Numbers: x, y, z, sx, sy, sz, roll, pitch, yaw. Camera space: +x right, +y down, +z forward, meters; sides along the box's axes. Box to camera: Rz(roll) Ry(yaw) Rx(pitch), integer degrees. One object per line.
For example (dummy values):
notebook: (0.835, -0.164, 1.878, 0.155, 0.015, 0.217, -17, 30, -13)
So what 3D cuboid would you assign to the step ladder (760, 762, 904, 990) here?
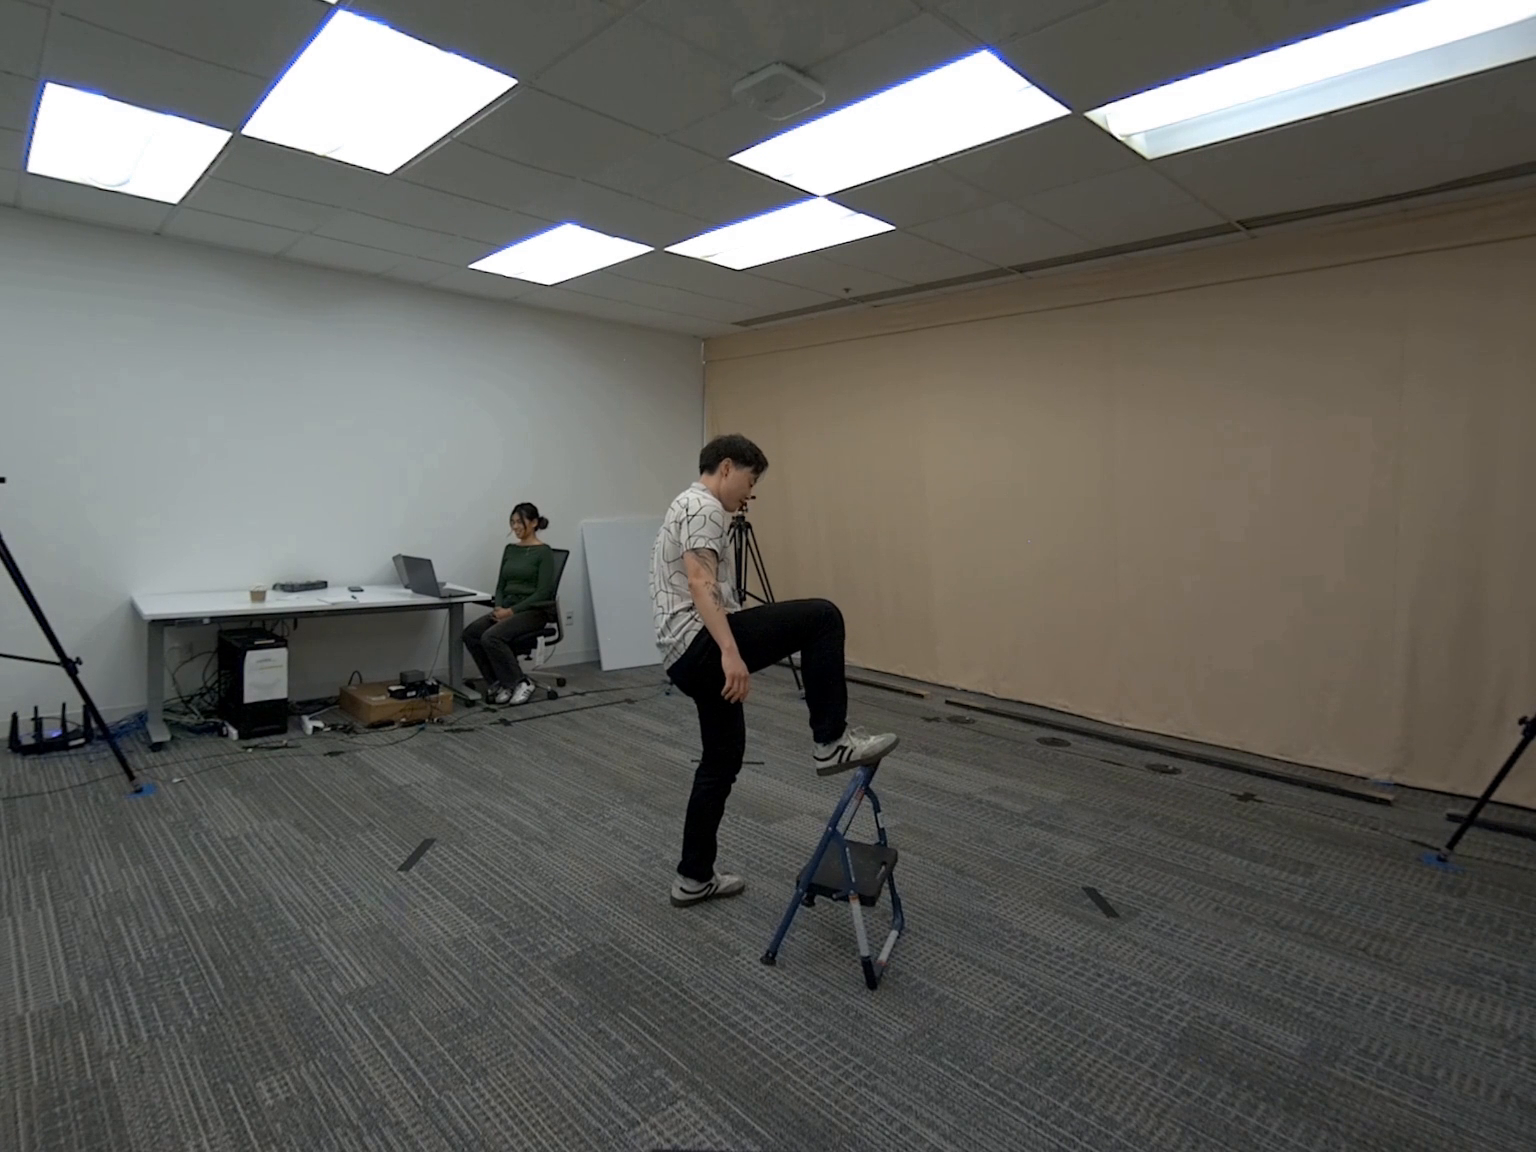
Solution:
step ladder: (0.234, 0.848, 2.612, 0.355, 0.604, 0.425, 5, 5, 20)
